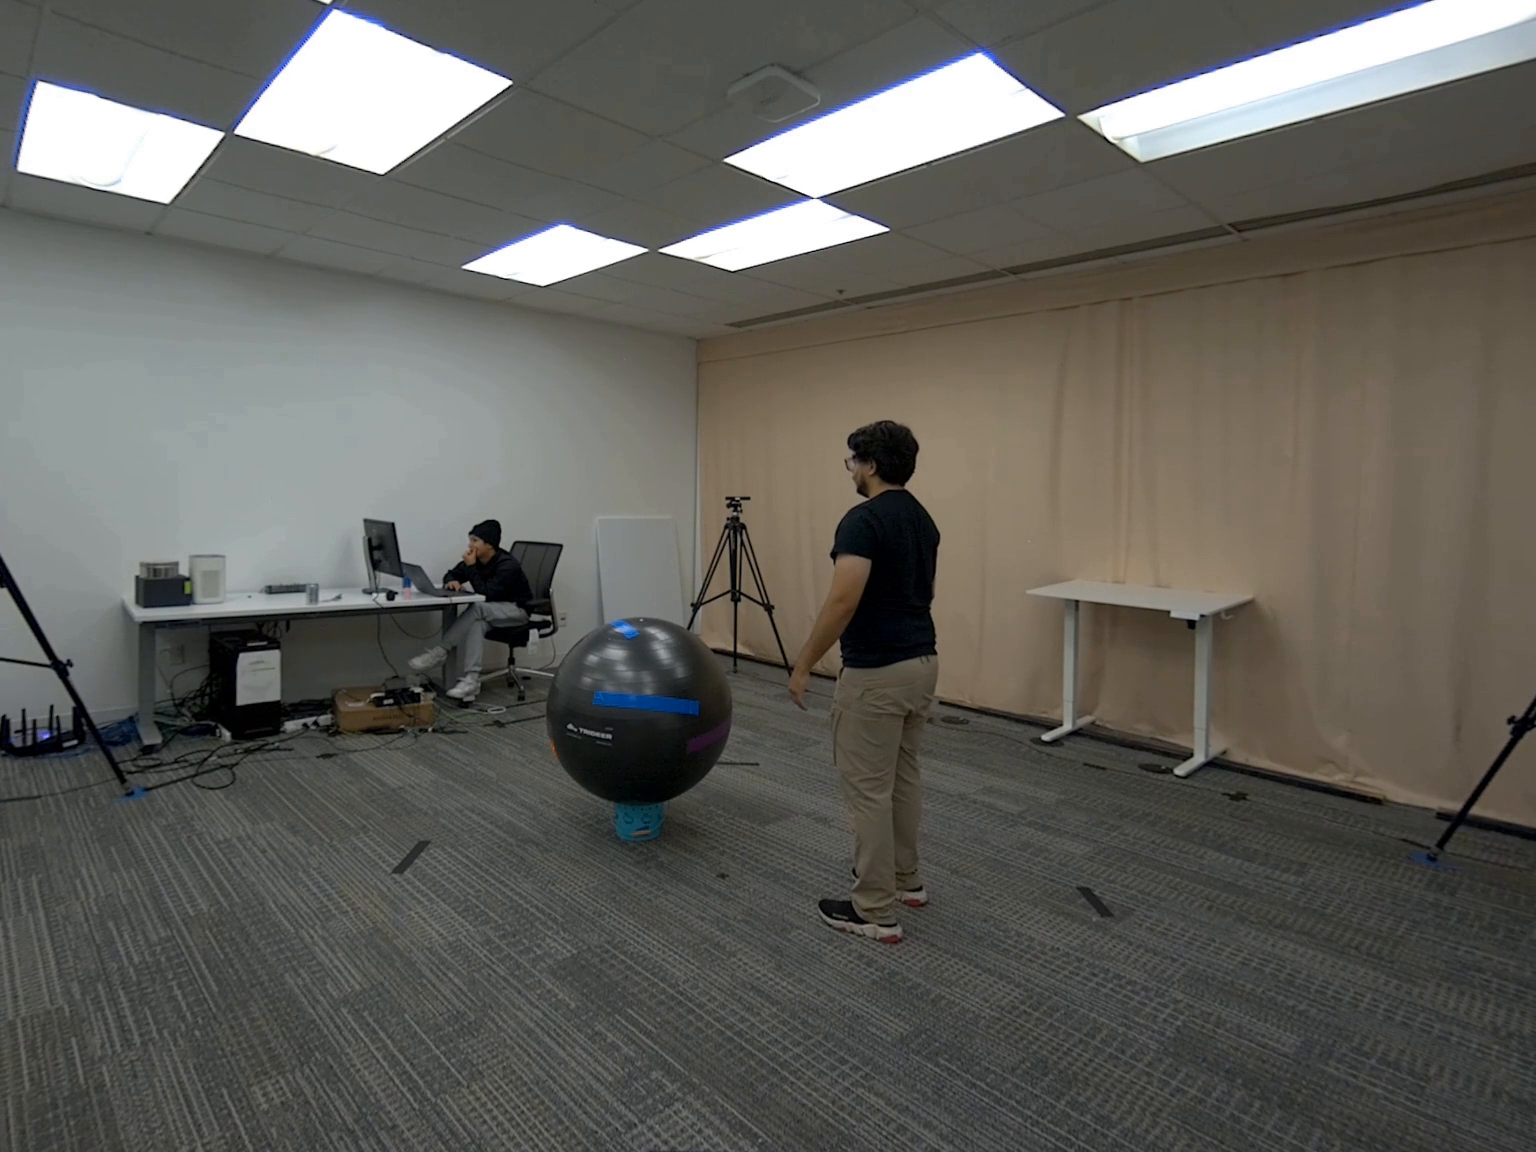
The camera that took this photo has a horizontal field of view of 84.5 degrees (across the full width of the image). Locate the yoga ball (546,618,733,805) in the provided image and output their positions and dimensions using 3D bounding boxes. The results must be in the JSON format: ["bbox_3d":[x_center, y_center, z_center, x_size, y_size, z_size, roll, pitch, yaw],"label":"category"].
[{"bbox_3d":[-0.536,0.548,3.468,0.757,0.756,0.761,1,4,-1],"label":"yoga ball"}]
